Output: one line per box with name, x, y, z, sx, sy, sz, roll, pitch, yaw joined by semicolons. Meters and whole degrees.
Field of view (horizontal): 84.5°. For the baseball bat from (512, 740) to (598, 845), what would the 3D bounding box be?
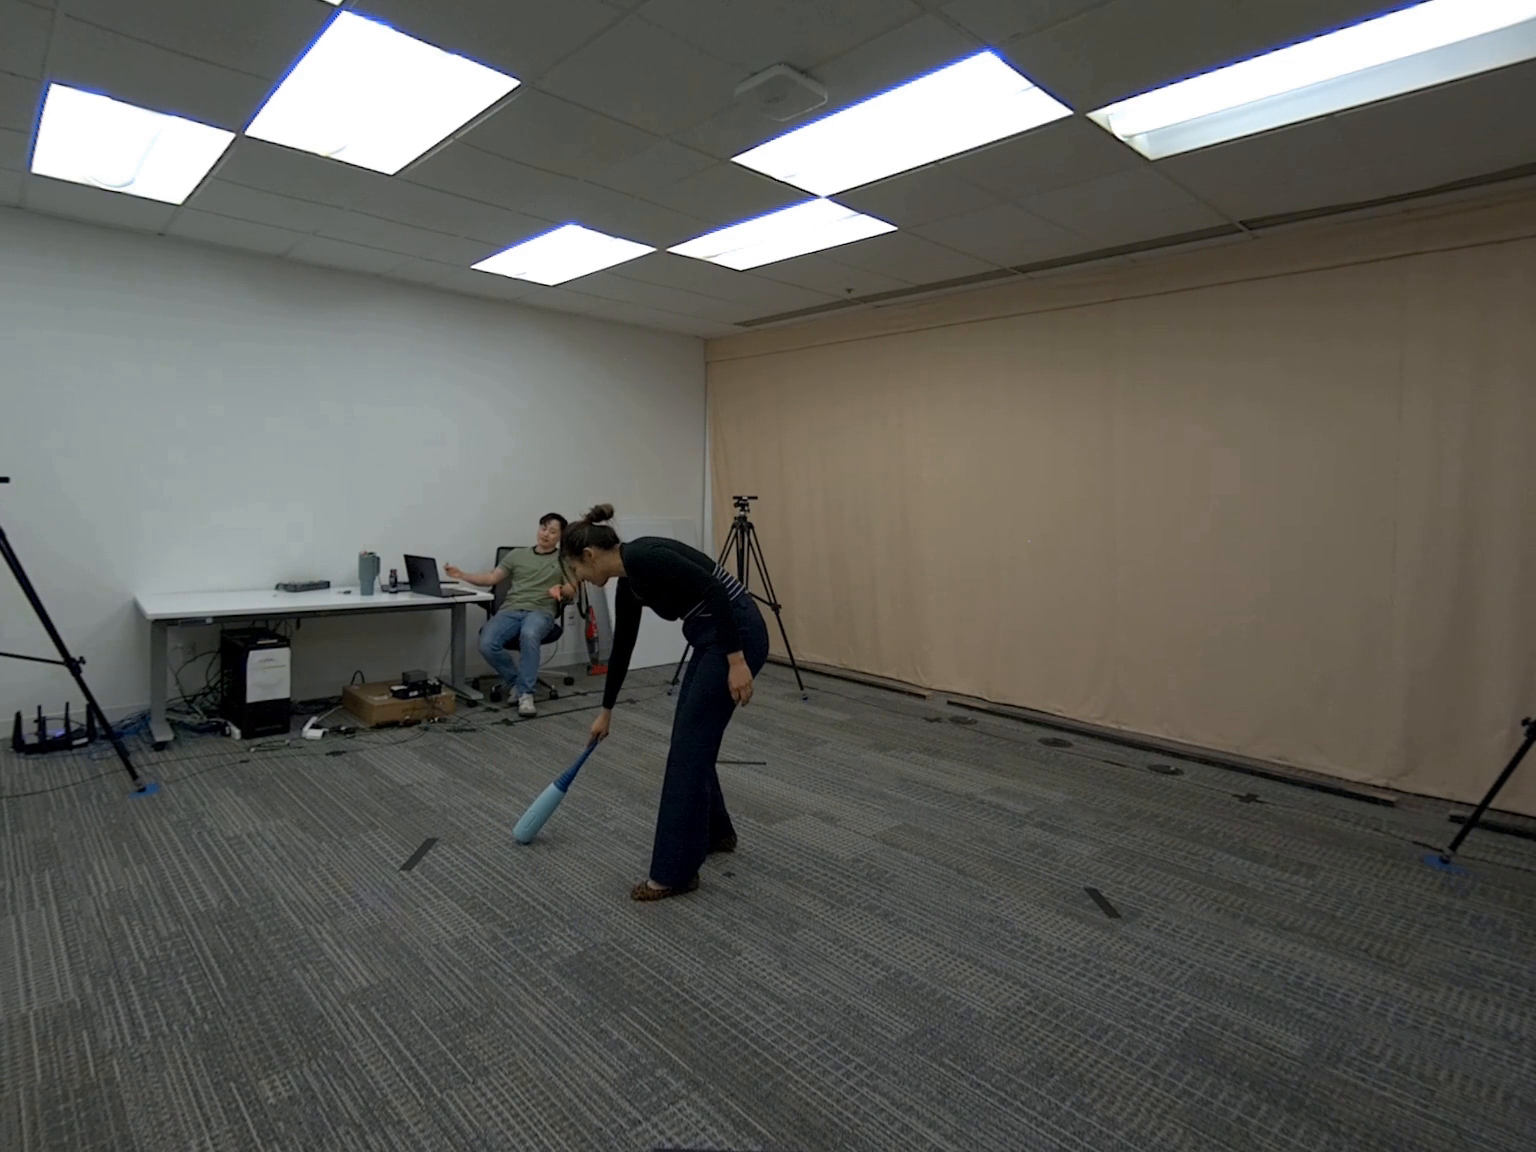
baseball bat;-0.827;0.834;3.366;0.089;0.543;0.089;38;-5;2
